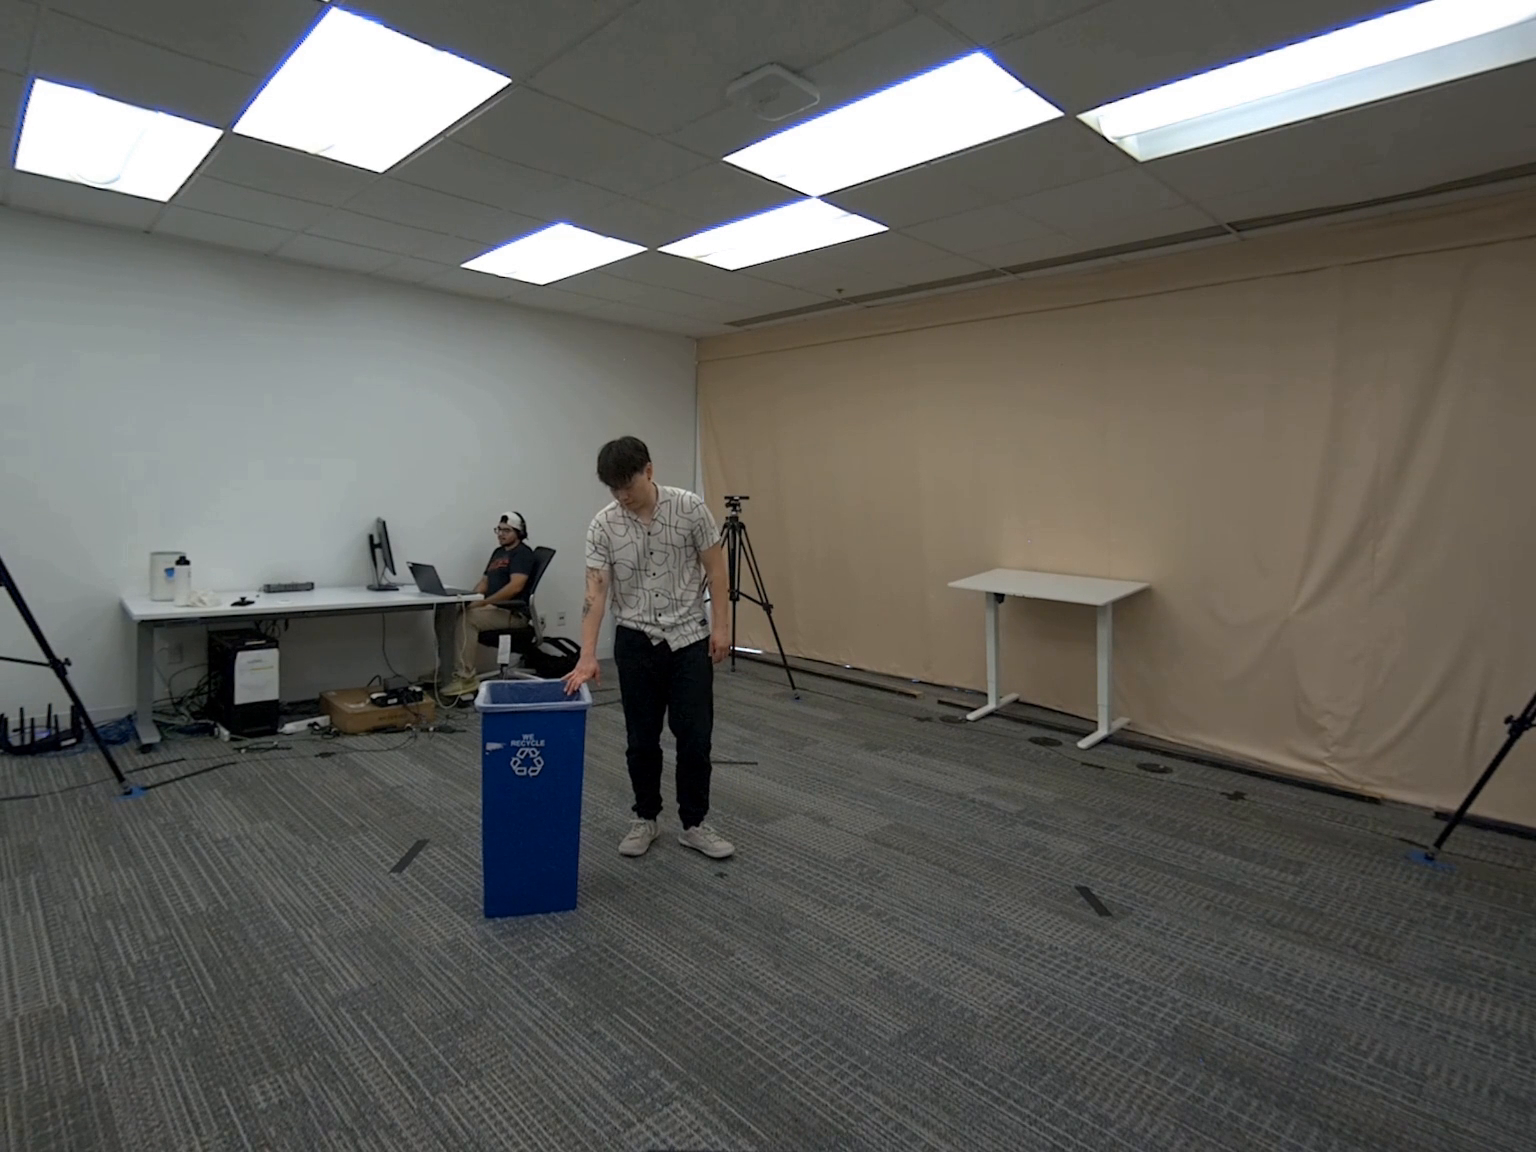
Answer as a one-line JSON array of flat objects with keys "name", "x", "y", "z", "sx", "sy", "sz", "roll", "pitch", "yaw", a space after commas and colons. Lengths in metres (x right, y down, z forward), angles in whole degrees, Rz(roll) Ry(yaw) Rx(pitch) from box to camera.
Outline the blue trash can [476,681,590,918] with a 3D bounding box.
[{"name": "blue trash can", "x": -0.816, "y": 0.751, "z": 2.906, "sx": 0.369, "sy": 0.711, "sz": 0.384, "roll": 1, "pitch": 4, "yaw": -16}]
